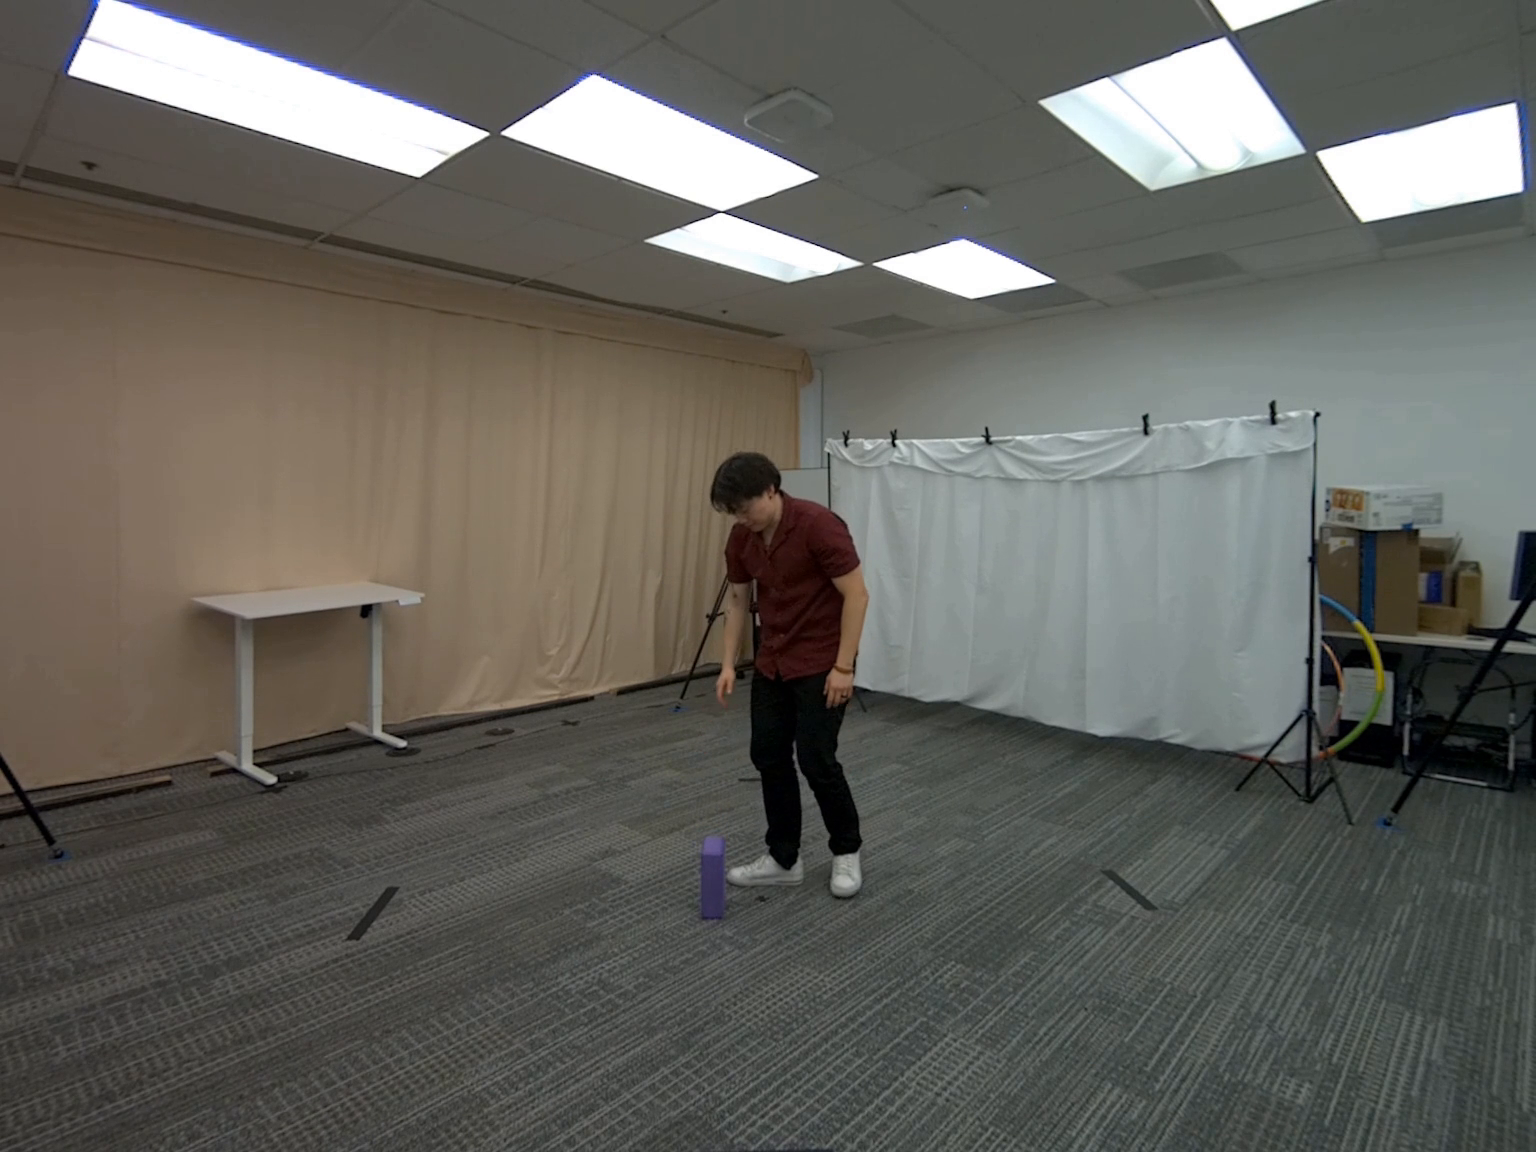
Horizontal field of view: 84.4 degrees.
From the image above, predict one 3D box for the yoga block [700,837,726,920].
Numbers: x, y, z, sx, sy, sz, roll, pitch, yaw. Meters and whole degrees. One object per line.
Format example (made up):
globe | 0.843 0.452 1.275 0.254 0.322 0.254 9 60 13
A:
yoga block | -0.185 1.040 2.895 0.077 0.229 0.149 2 3 1
